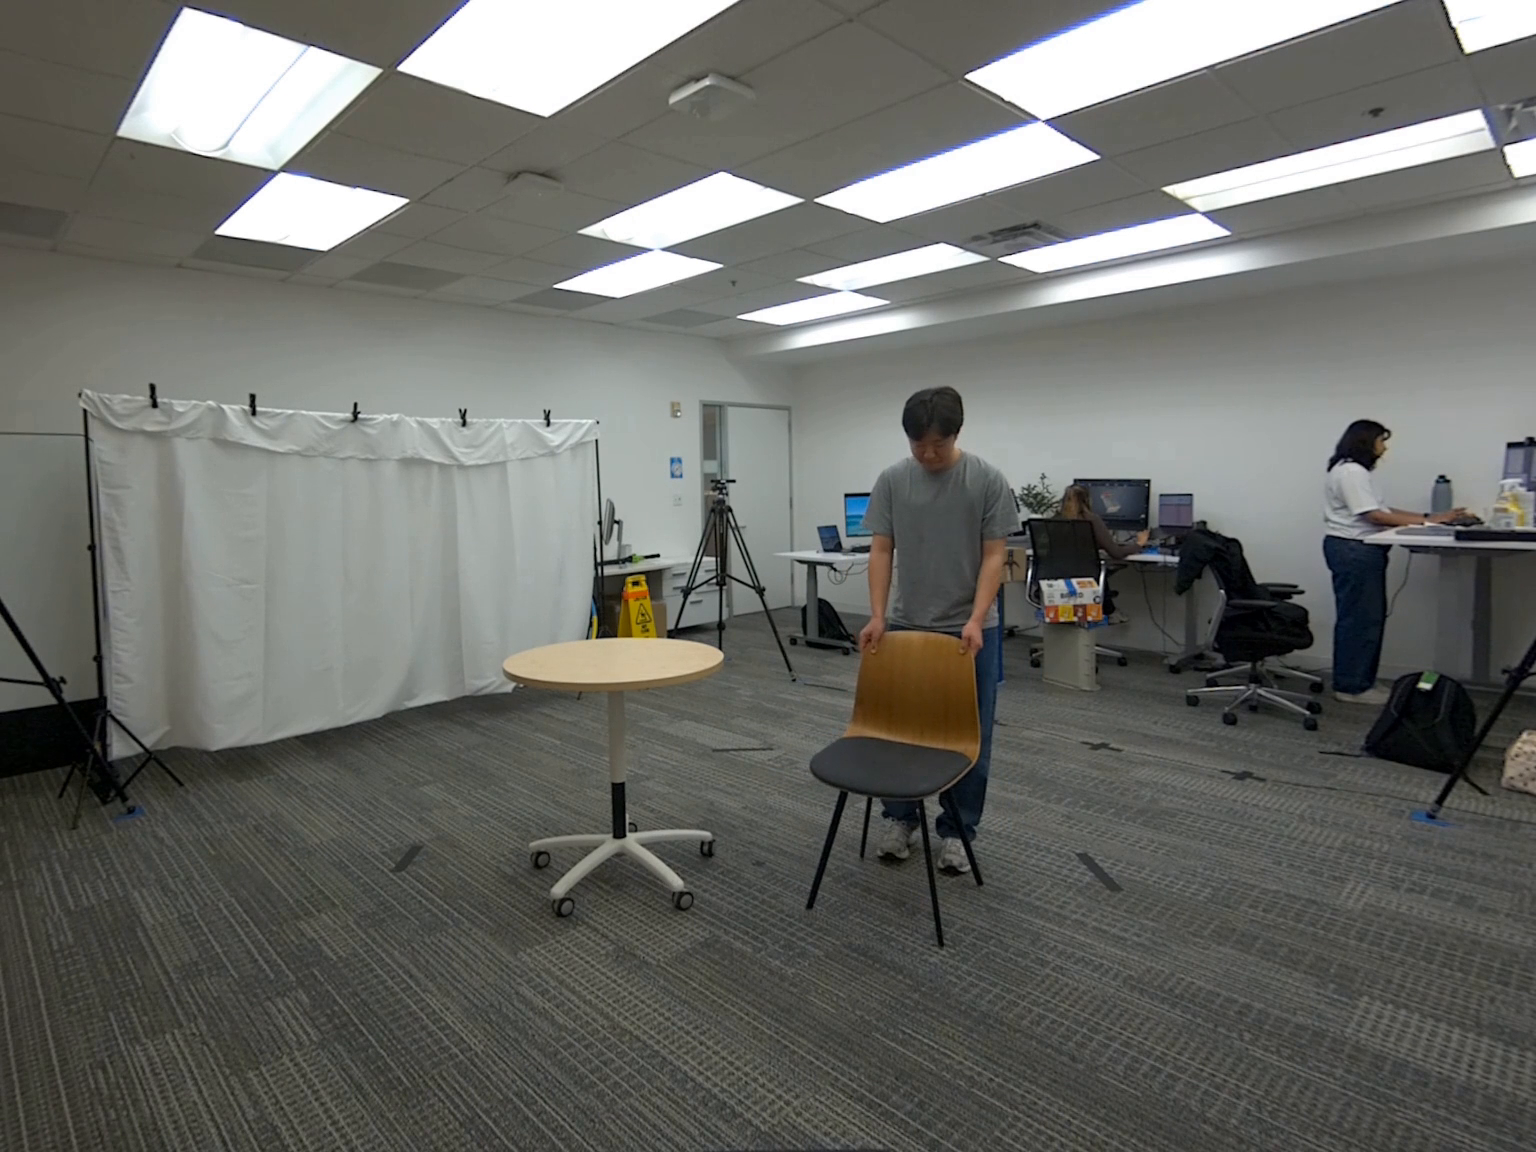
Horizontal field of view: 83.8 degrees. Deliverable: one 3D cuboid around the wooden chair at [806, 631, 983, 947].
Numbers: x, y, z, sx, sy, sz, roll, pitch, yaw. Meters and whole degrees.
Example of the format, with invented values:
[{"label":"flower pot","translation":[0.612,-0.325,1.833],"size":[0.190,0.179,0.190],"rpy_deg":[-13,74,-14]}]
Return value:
[{"label":"wooden chair","translation":[0.419,0.640,2.797],"size":[0.491,0.877,0.509],"rpy_deg":[2,1,30]}]
